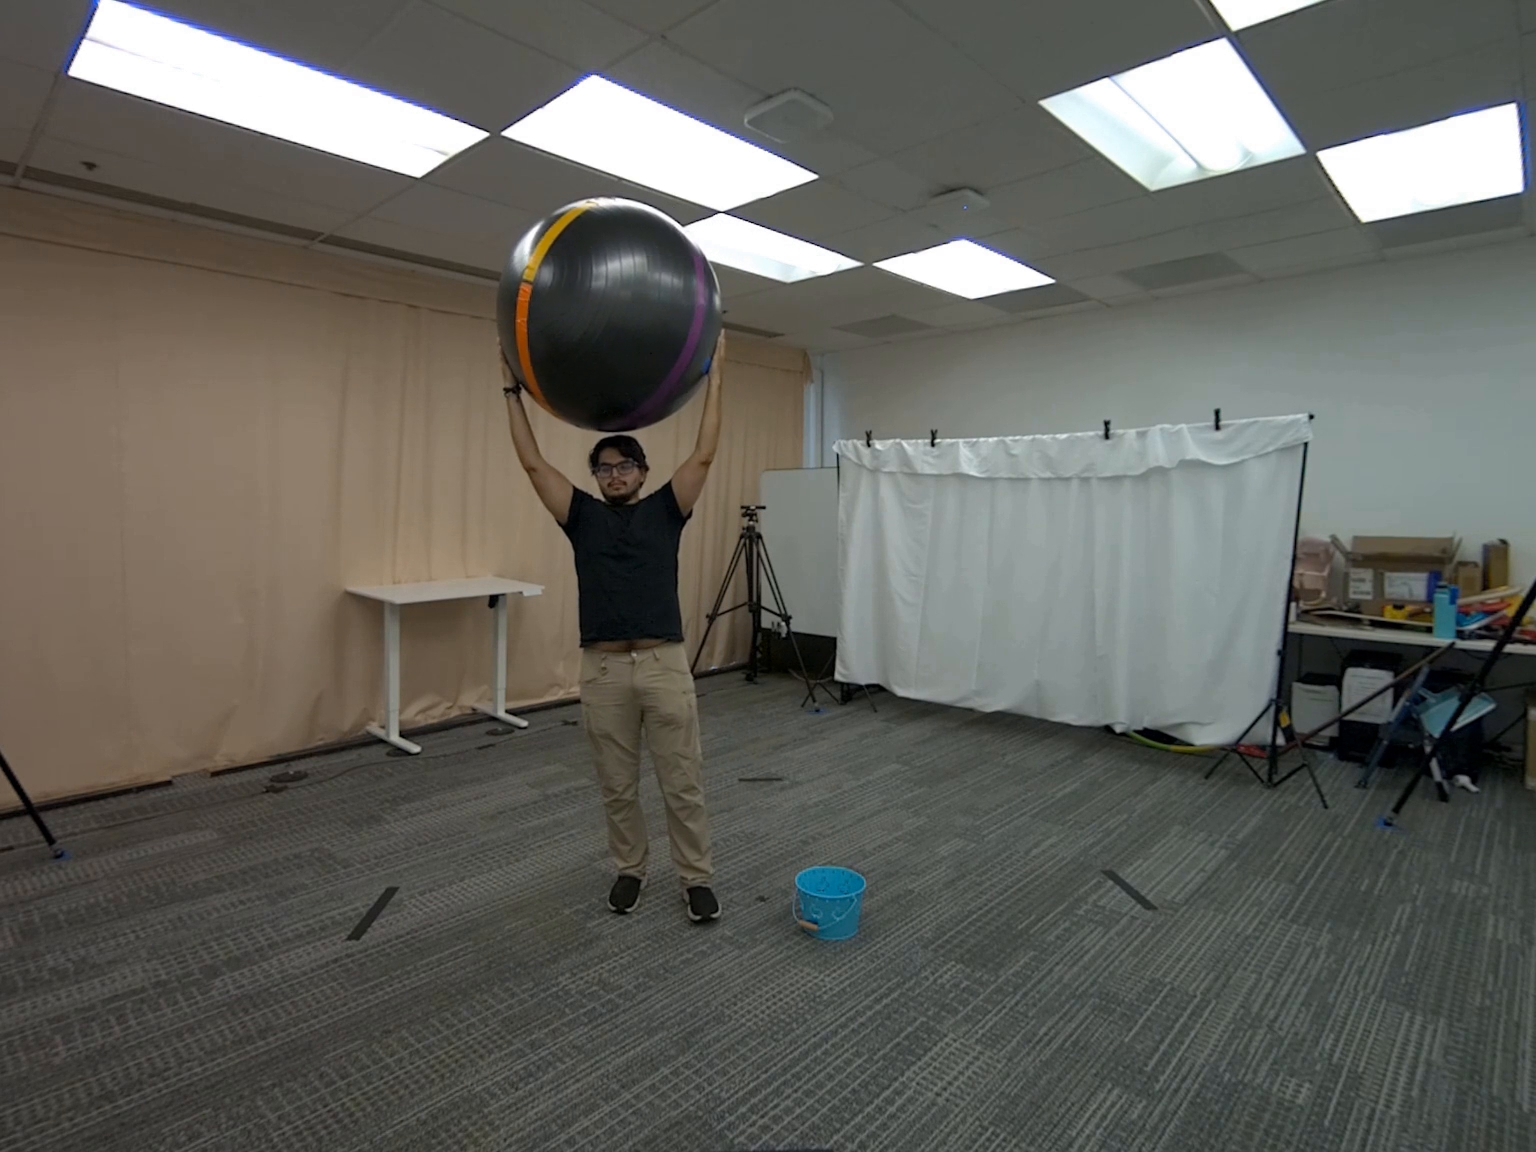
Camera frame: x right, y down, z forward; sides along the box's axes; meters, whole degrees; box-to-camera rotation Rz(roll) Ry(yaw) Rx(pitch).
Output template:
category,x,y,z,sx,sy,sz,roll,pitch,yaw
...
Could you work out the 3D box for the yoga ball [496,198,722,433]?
category,x,y,z,sx,sy,sz,roll,pitch,yaw
yoga ball,-0.521,-0.863,2.837,0.757,0.756,0.761,0,4,-2
